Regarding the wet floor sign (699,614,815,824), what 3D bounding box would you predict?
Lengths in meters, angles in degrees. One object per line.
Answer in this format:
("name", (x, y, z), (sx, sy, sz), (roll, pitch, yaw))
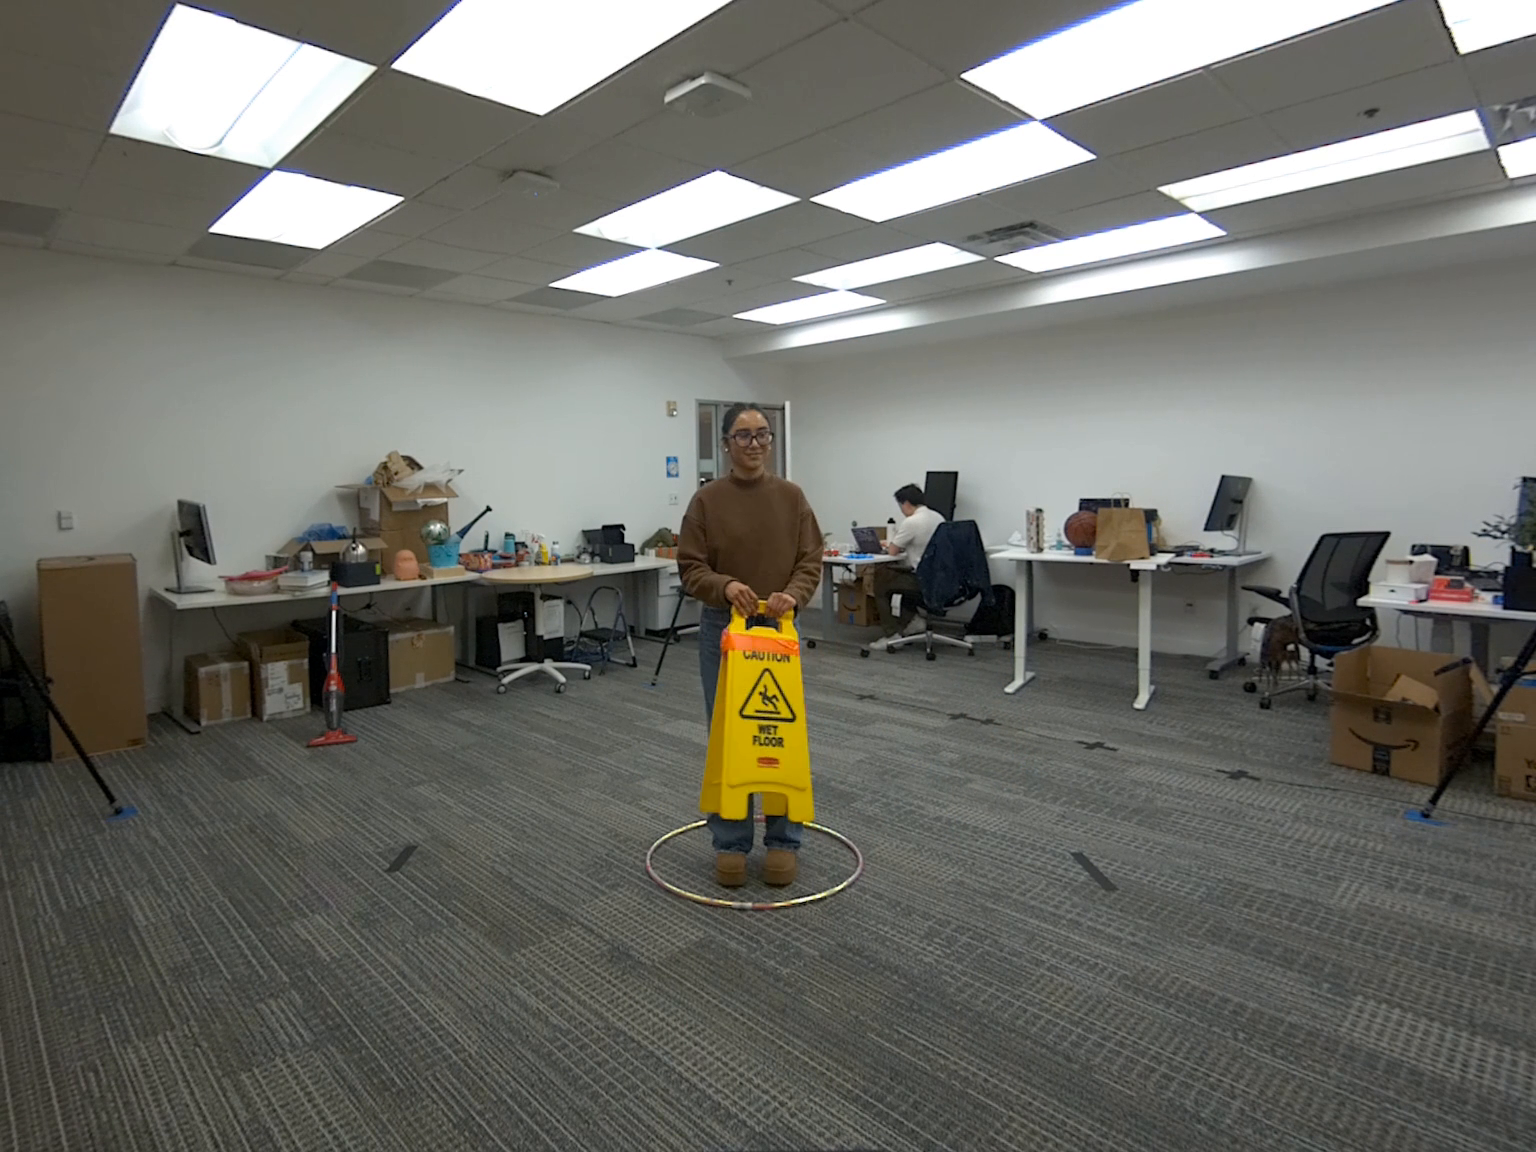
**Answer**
("wet floor sign", (-0.027, 0.407, 2.635), (0.278, 0.654, 0.290), (5, -14, -14))
